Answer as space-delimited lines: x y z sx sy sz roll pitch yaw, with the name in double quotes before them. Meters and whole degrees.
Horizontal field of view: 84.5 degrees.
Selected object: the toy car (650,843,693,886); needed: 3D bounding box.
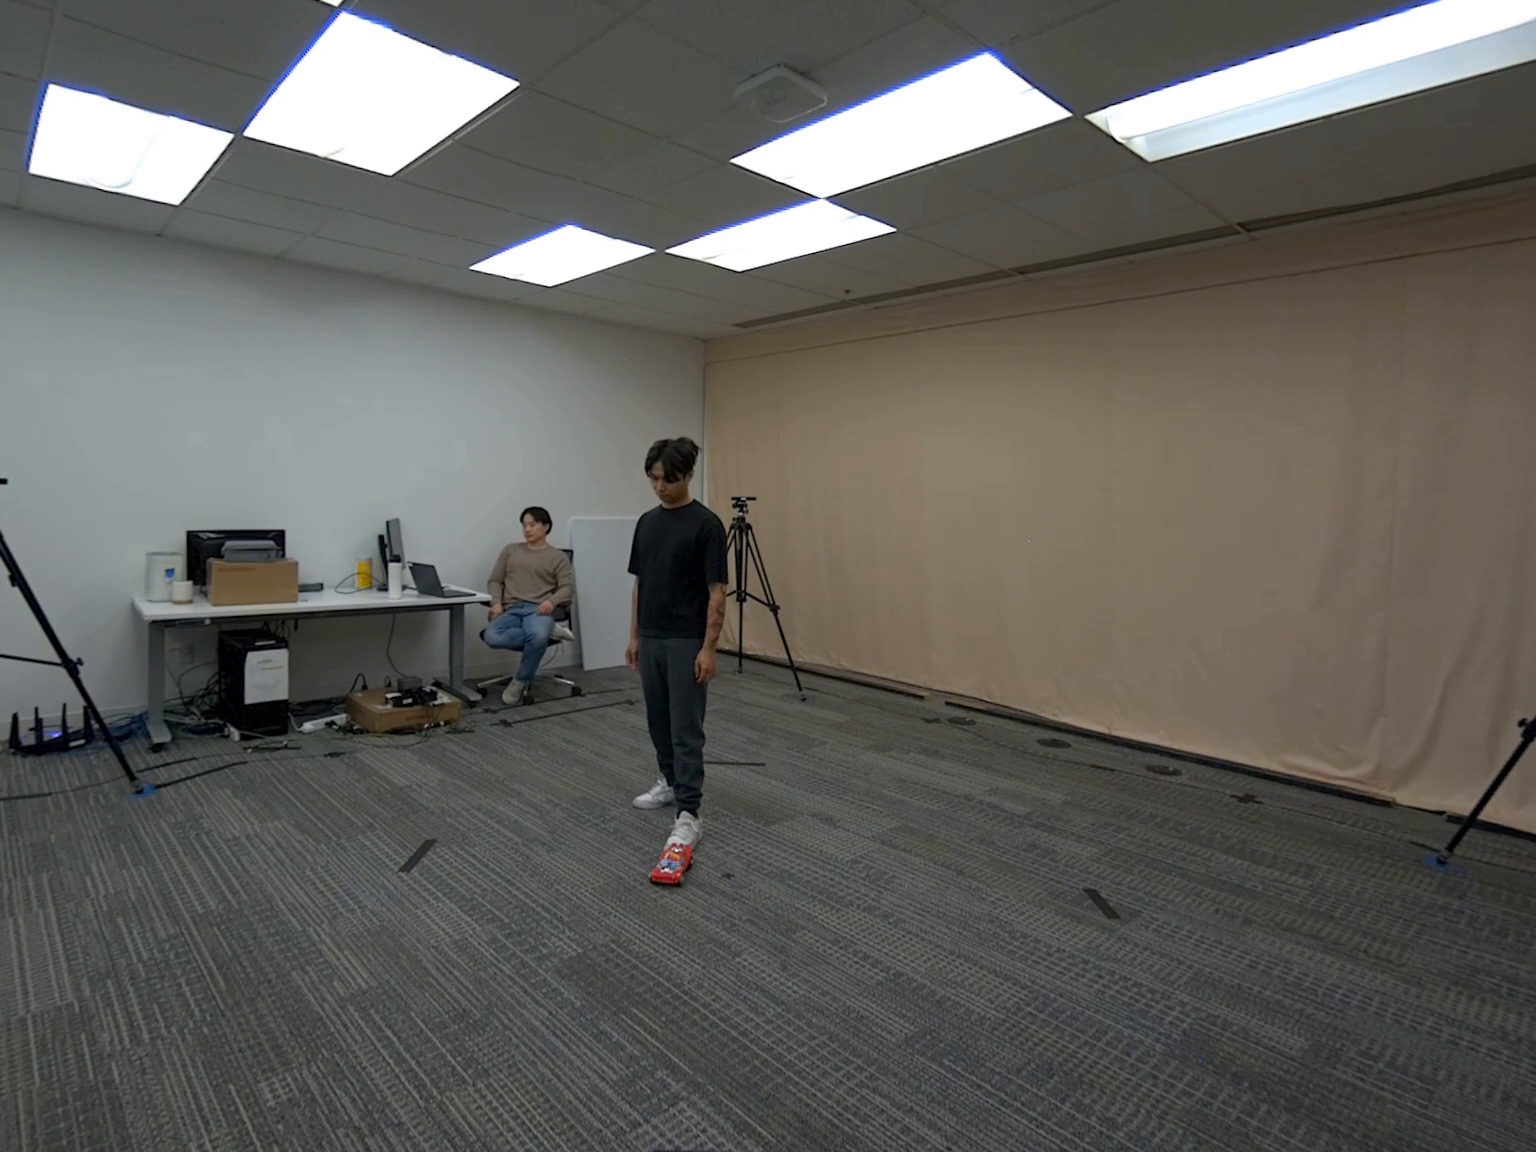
"toy car" -0.368 1.072 3.117 0.131 0.082 0.255 2 16 8
